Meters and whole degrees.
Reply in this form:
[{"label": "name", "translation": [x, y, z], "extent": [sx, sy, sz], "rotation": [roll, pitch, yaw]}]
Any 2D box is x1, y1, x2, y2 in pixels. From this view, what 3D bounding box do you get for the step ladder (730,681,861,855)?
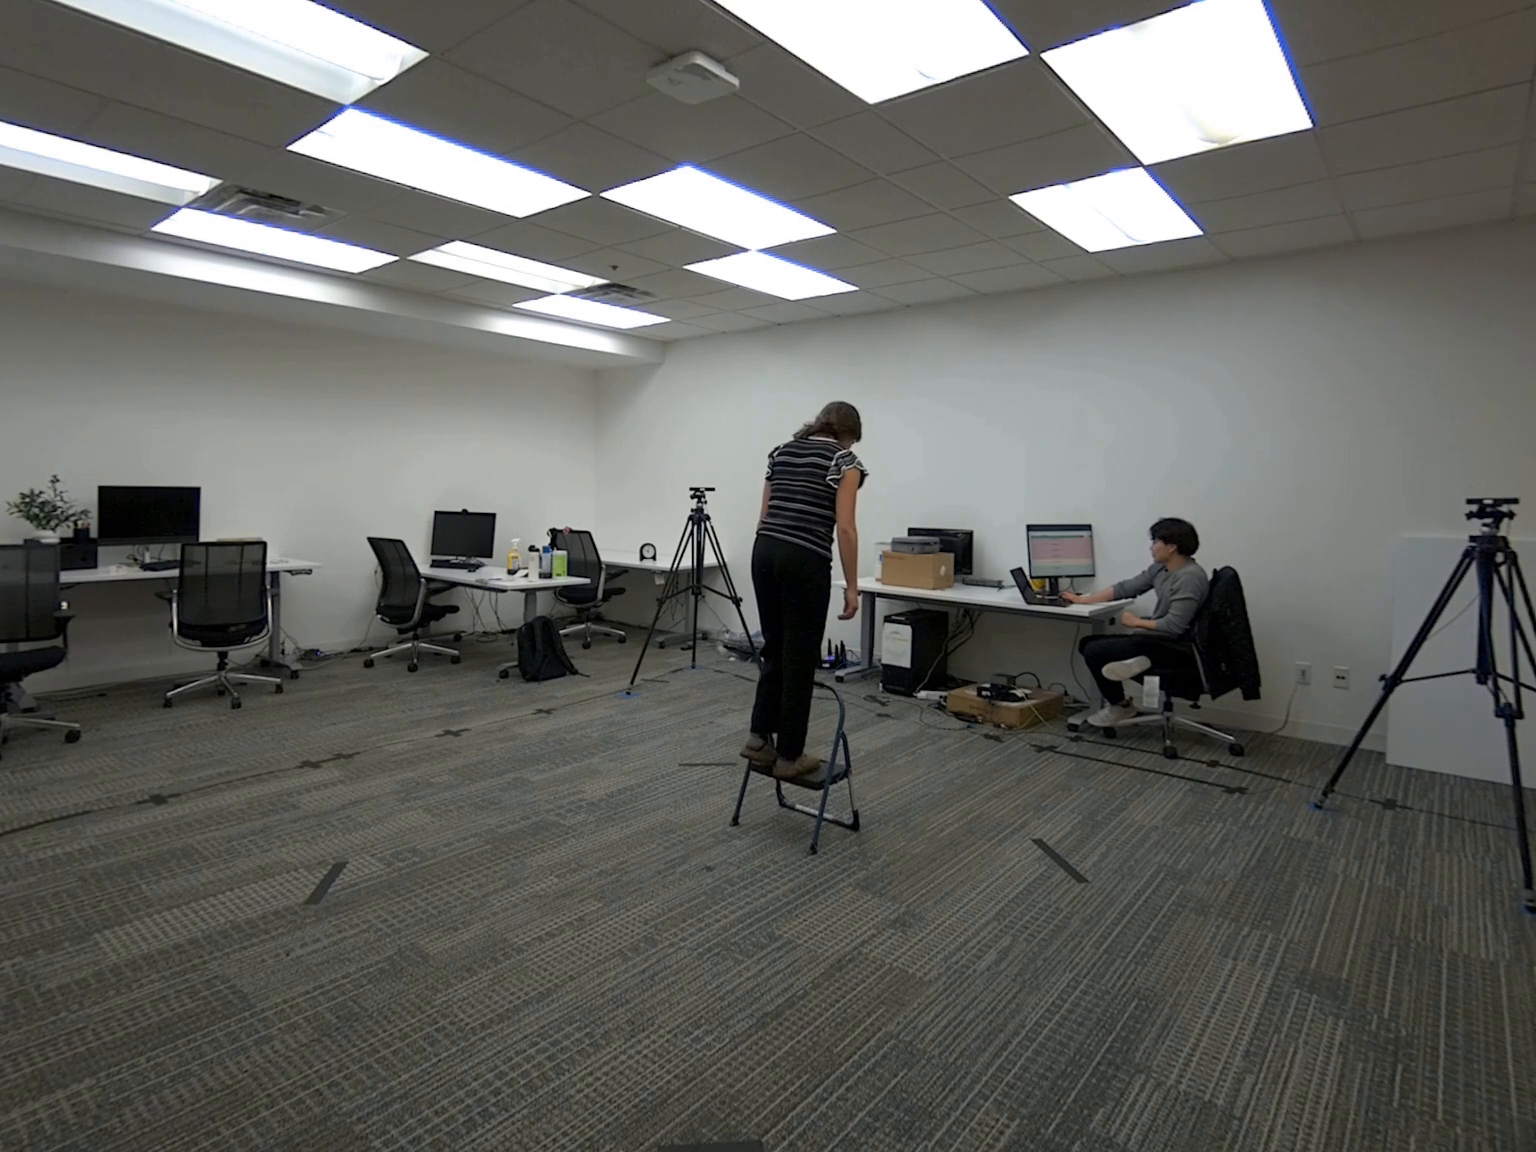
[{"label": "step ladder", "translation": [0.113, 0.733, 3.495], "extent": [0.445, 0.604, 0.339], "rotation": [4, 4, 39]}]
